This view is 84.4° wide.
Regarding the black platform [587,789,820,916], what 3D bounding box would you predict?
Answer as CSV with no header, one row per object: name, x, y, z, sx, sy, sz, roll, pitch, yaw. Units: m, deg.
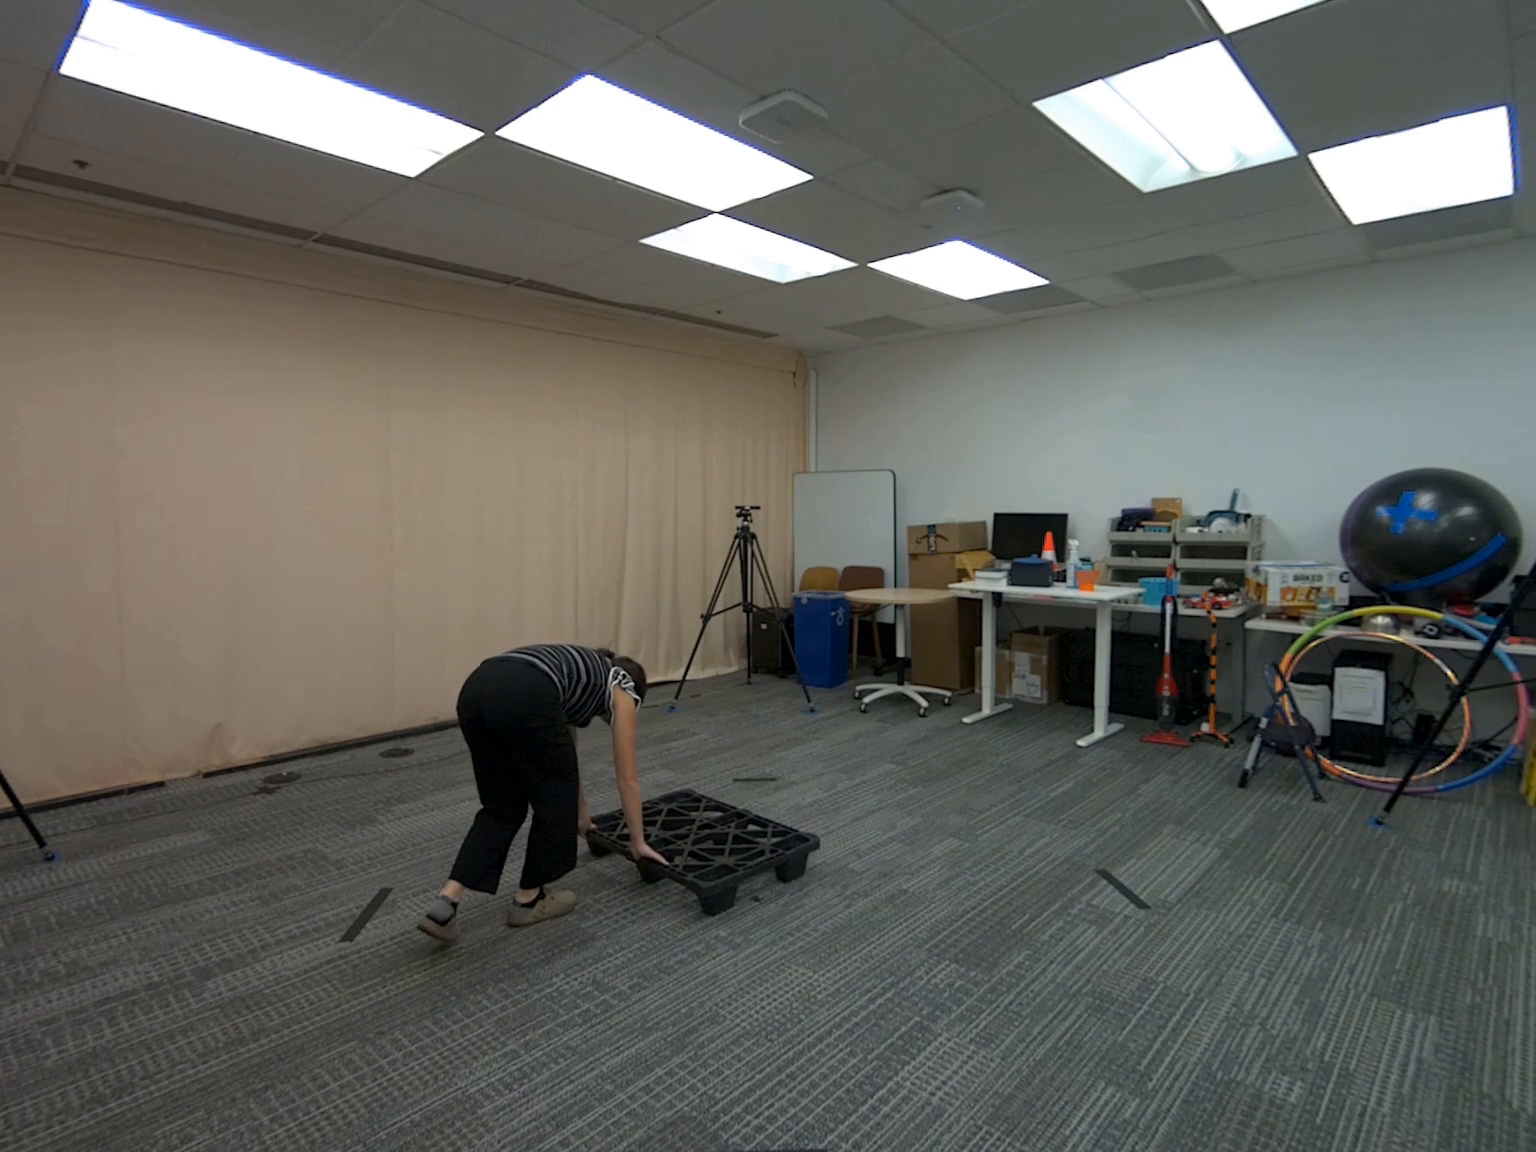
black platform,-0.284,1.054,3.276,0.586,0.143,0.832,-4,6,-44
